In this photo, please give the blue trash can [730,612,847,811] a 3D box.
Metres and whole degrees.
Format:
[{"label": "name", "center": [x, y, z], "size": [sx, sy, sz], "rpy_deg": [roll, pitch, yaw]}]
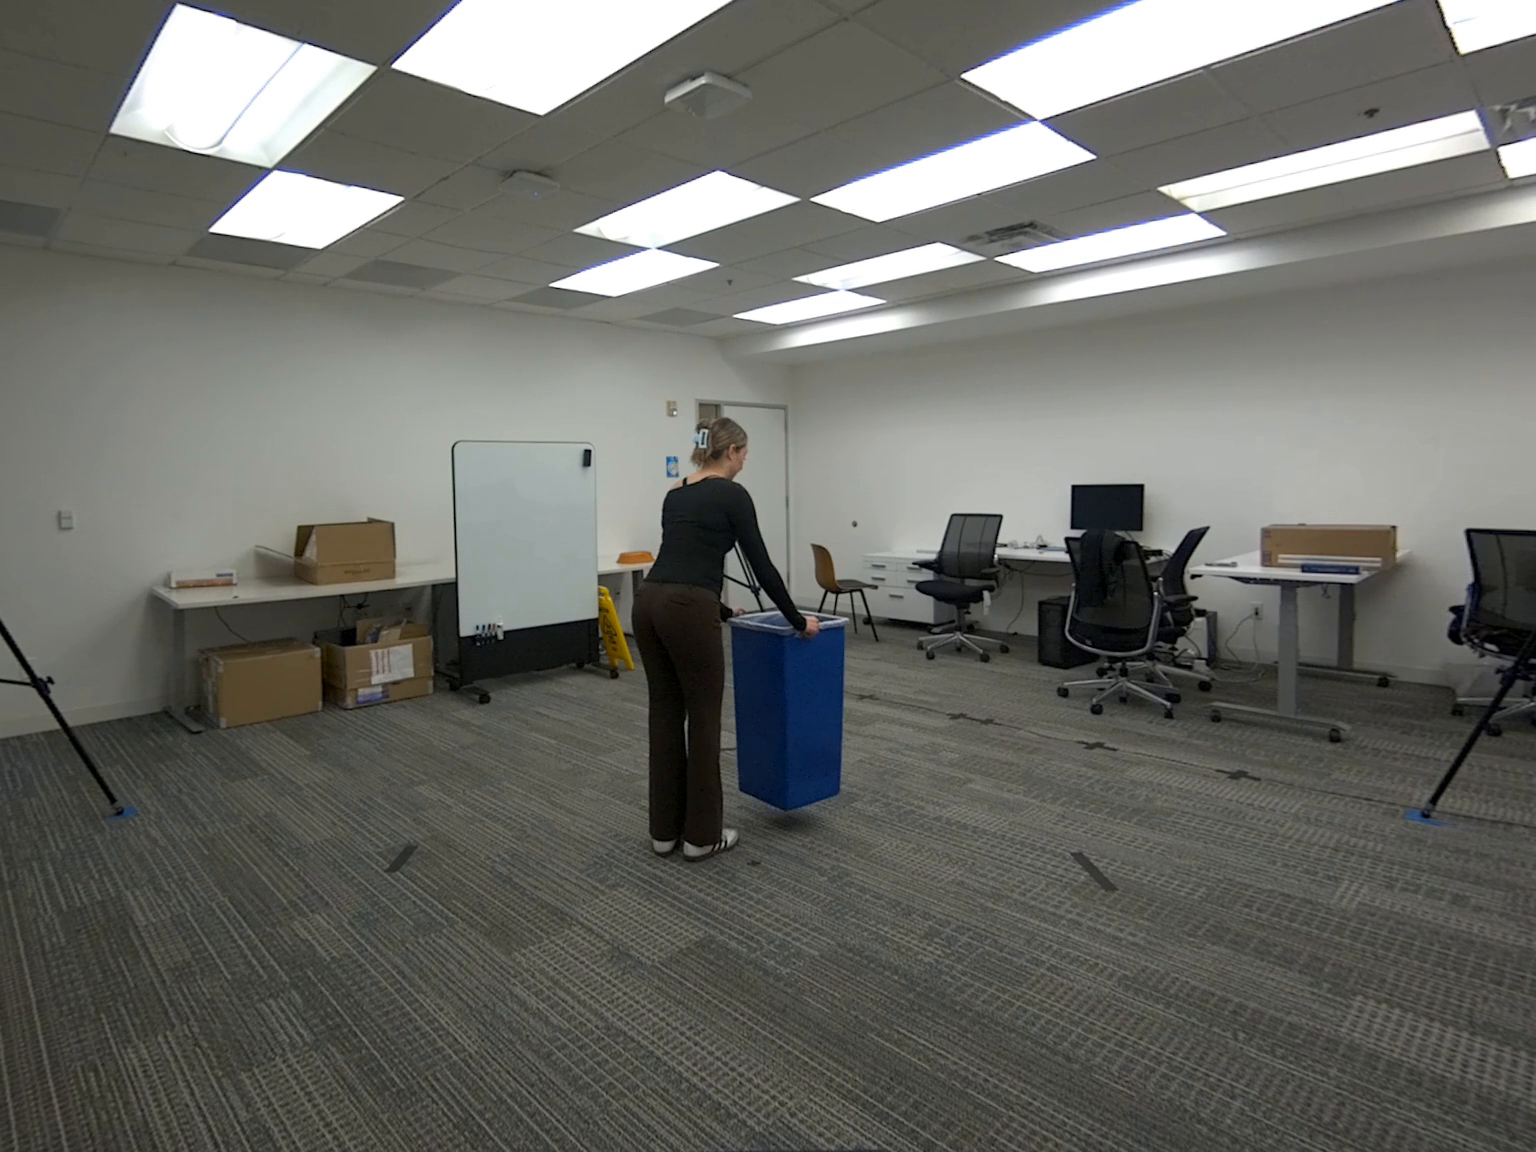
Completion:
[{"label": "blue trash can", "center": [0.075, 0.527, 3.476], "size": [0.368, 0.711, 0.385], "rpy_deg": [-3, 5, -41]}]
